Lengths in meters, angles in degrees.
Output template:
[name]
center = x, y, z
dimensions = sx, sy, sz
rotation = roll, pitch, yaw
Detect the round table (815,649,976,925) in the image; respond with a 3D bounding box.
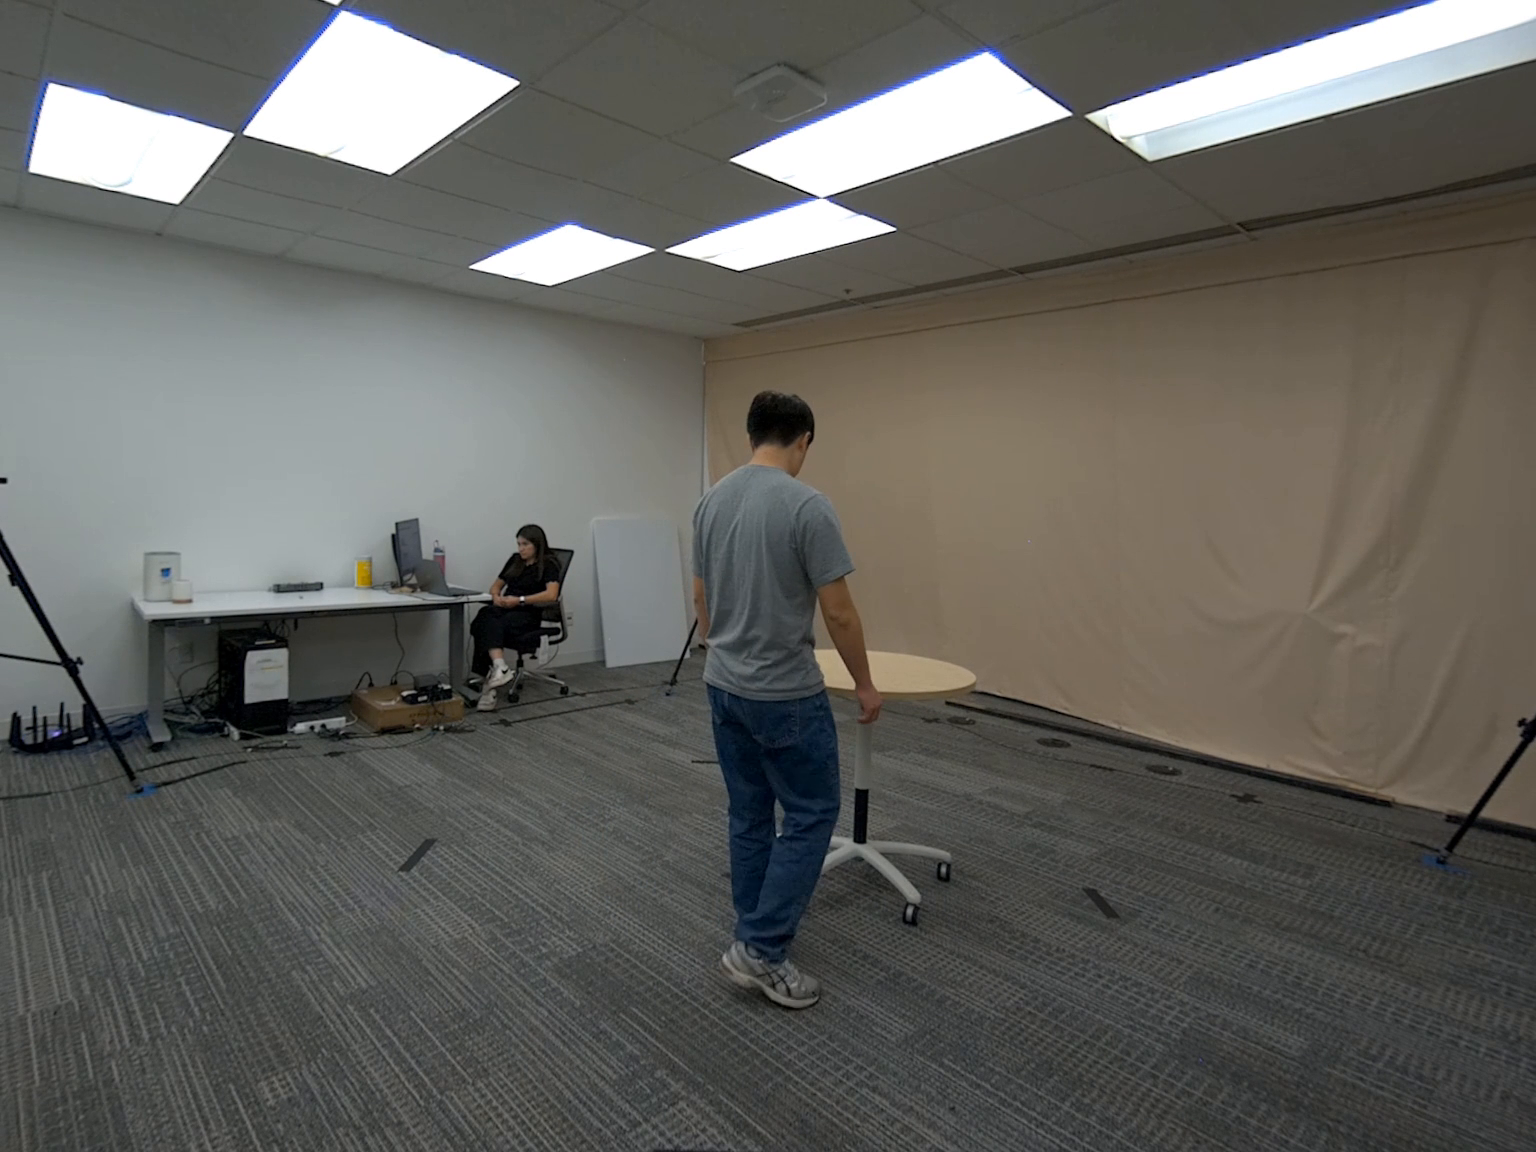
[round table]
center = 0.345, 0.733, 3.077
dimensions = 0.763, 0.792, 0.766
rotation = 2, 4, -1
